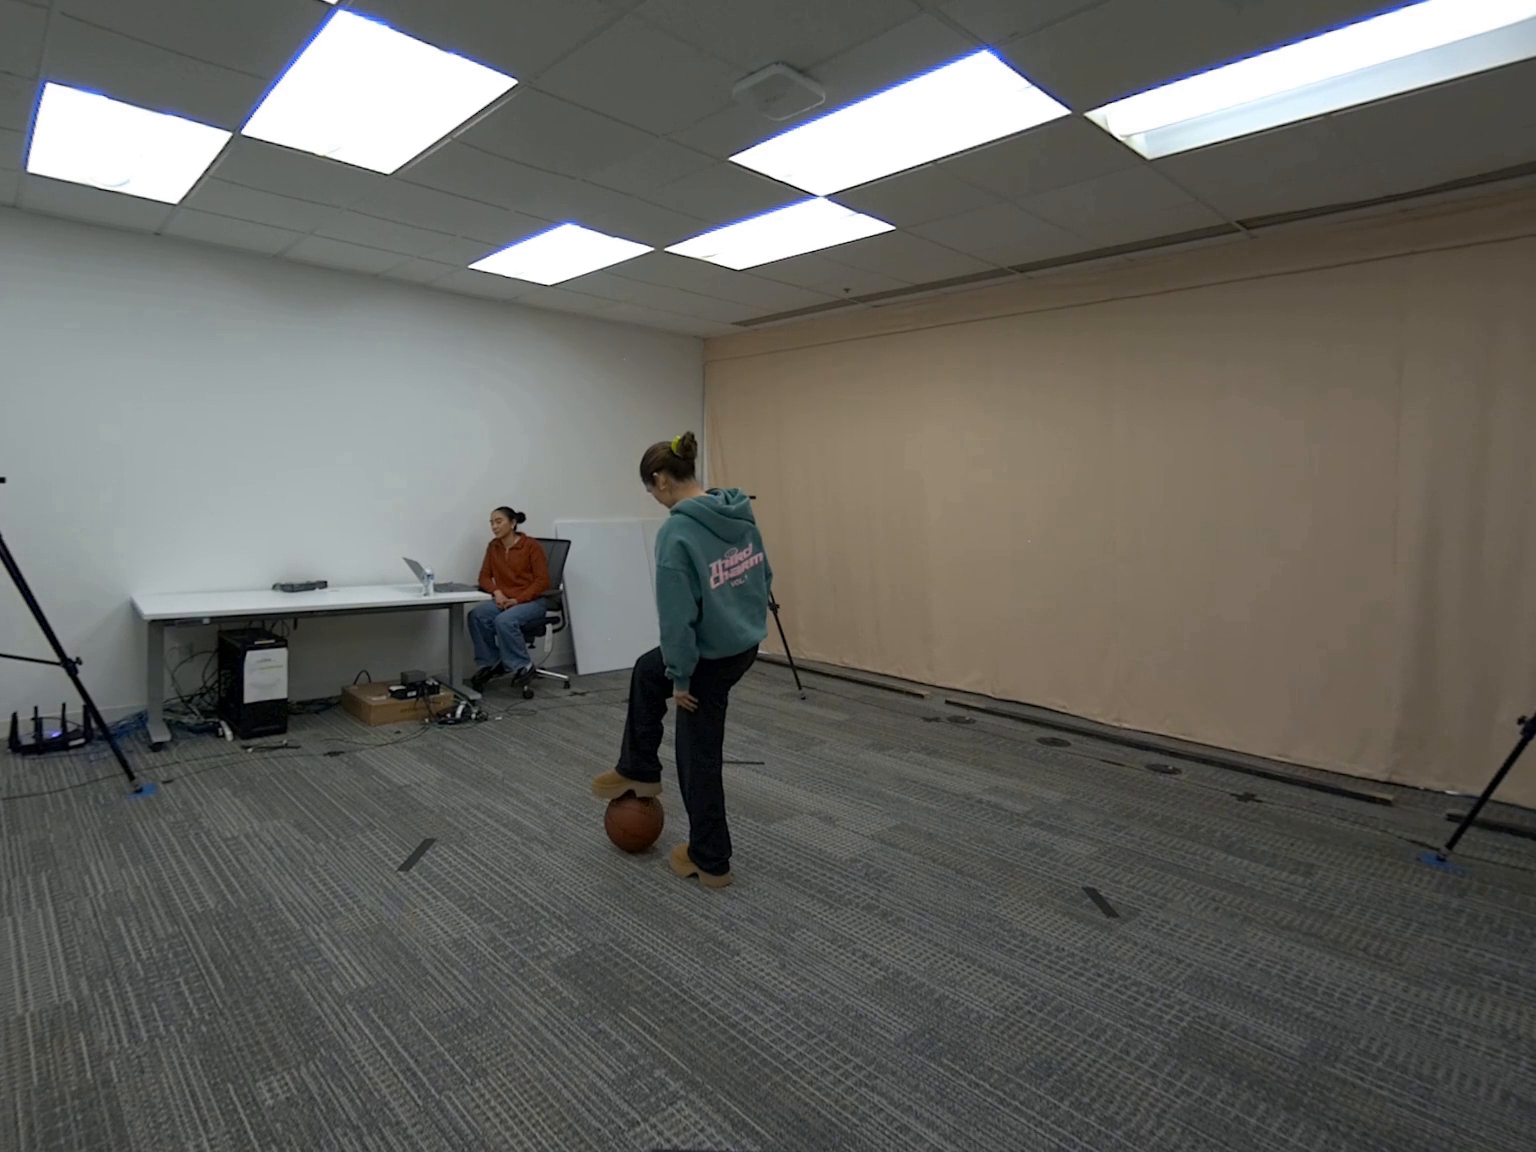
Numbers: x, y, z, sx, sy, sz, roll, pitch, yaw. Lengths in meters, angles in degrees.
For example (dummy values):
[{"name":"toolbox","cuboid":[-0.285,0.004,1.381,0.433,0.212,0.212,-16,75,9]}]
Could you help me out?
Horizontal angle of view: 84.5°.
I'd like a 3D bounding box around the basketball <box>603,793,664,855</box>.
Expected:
[{"name":"basketball","cuboid":[-0.523,0.957,3.316,0.236,0.235,0.237,1,4,-1]}]
